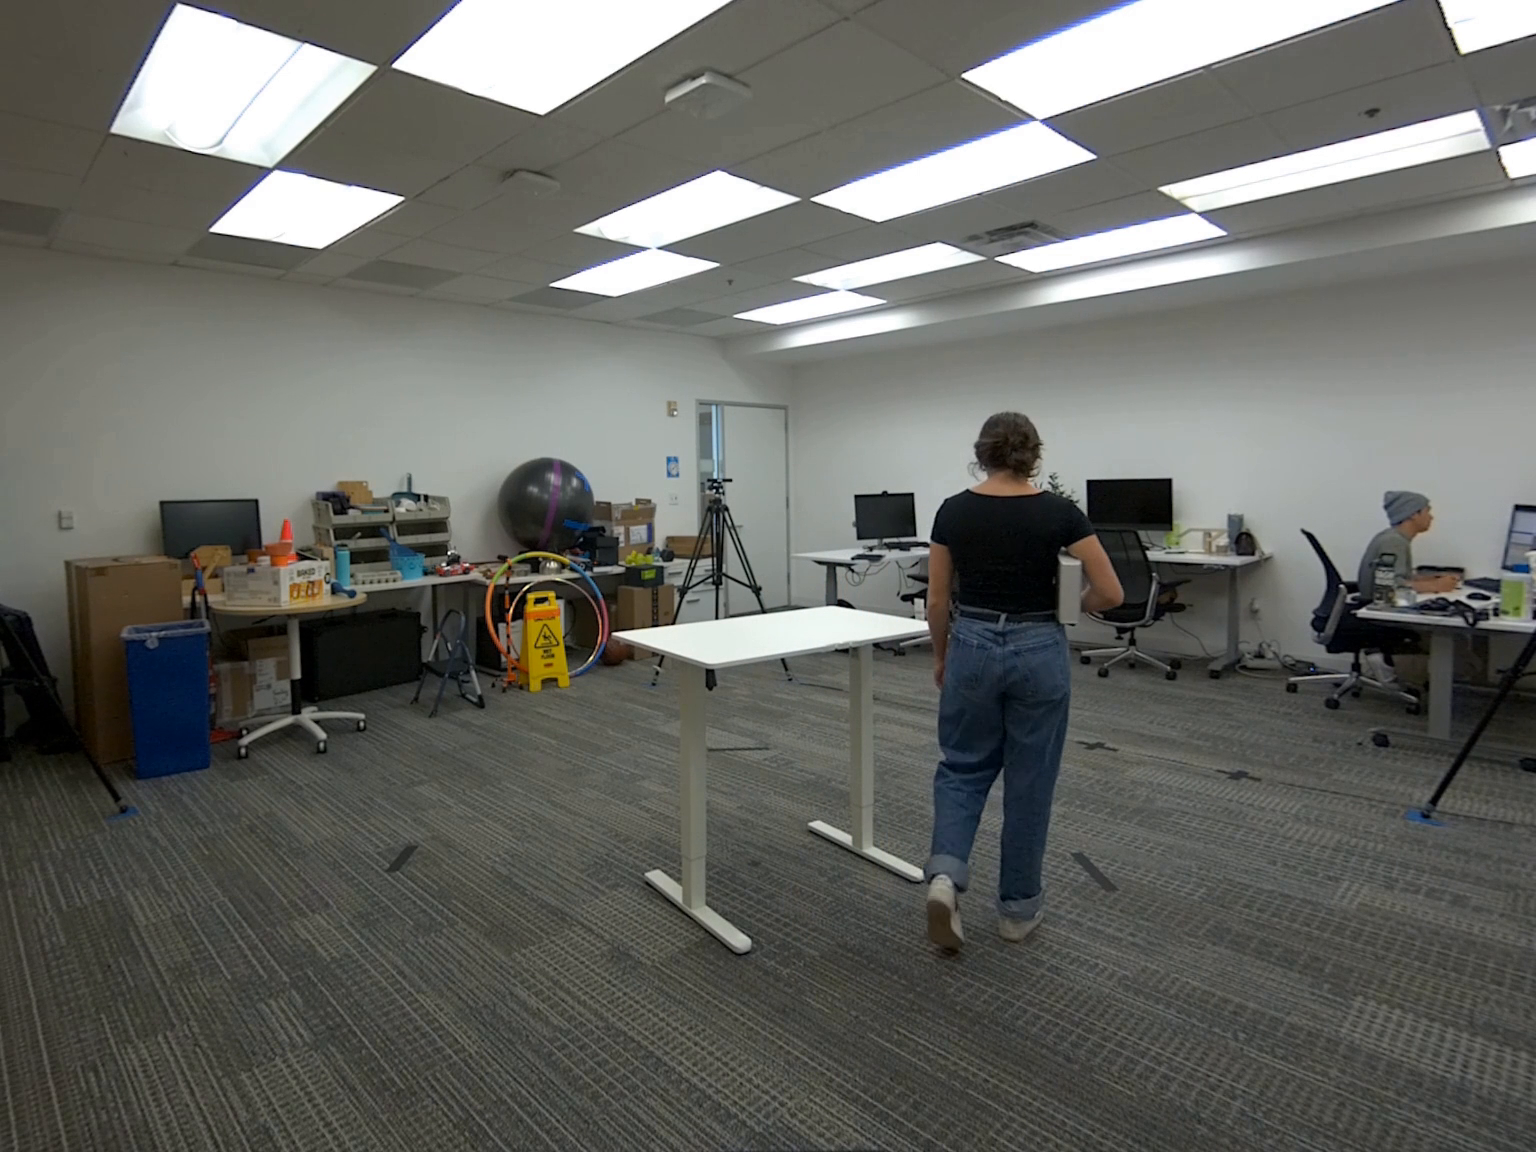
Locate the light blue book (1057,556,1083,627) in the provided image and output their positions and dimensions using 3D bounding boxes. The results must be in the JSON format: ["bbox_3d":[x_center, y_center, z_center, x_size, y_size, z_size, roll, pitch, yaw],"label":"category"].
[{"bbox_3d":[0.877,0.000,2.518,0.060,0.188,0.262,-1,21,13],"label":"light blue book"}]
